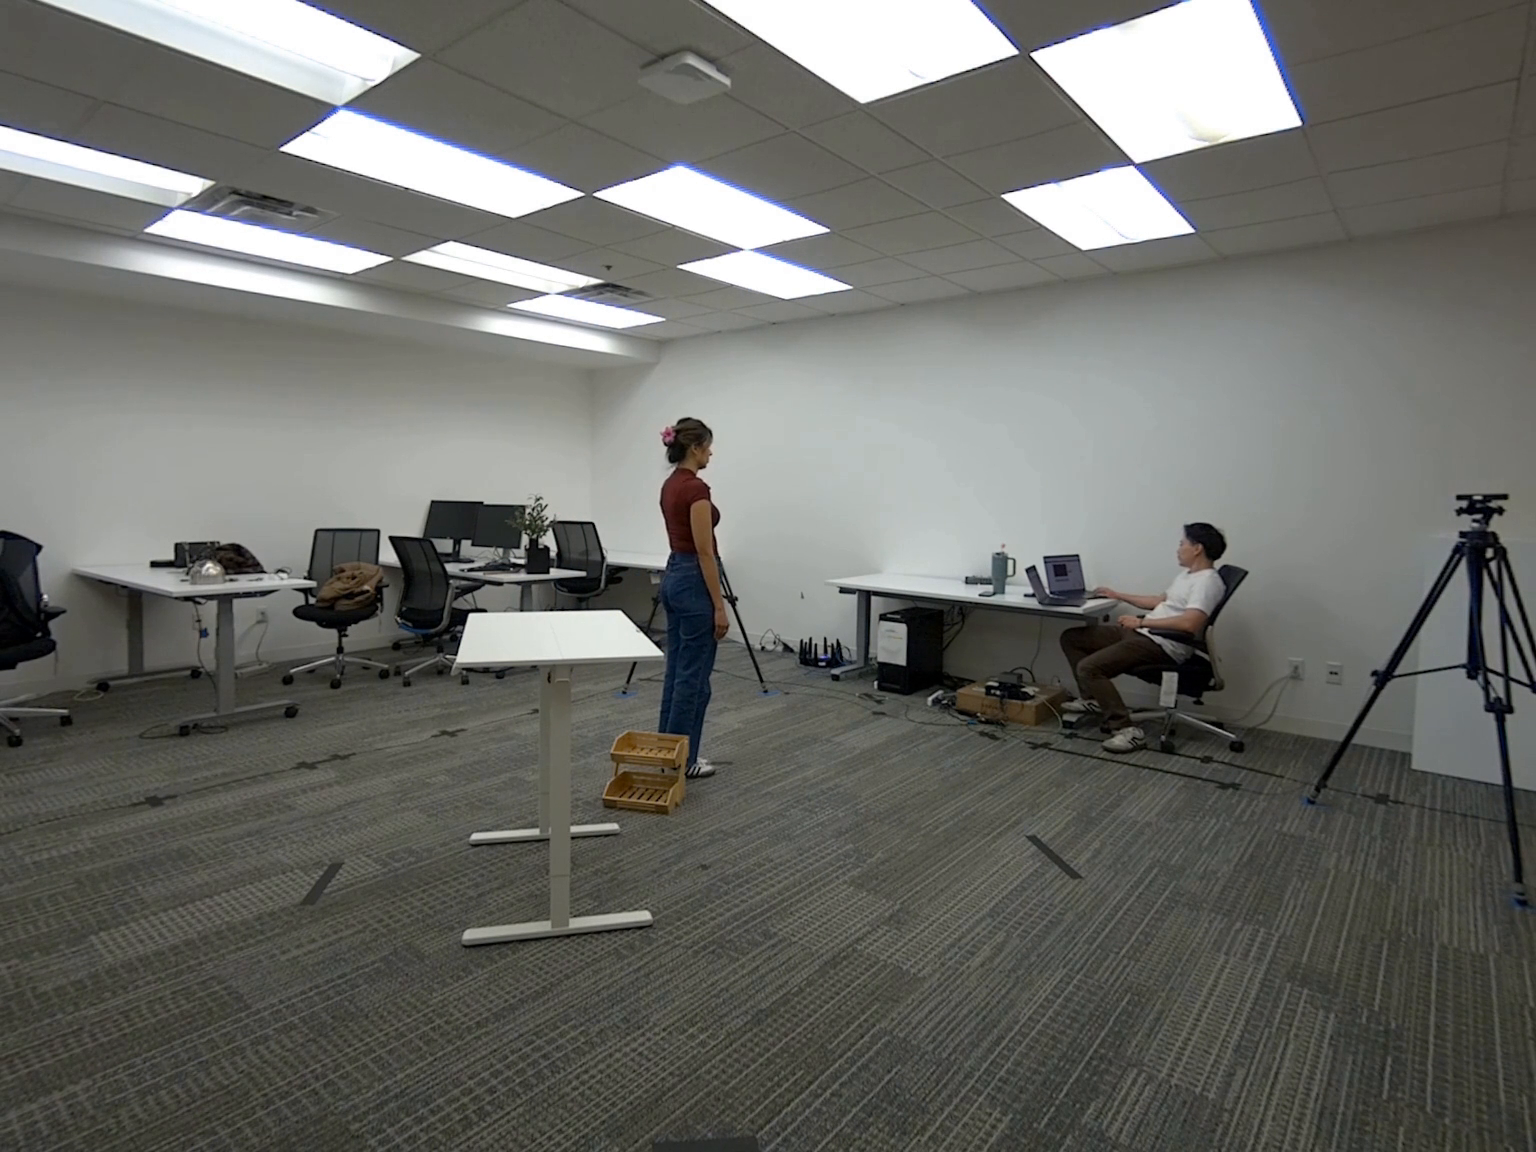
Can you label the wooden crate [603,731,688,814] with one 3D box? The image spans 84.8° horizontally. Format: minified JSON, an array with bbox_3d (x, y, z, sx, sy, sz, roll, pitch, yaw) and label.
[{"bbox_3d":[-0.551,0.862,3.782,0.329,0.272,0.298,2,4,13],"label":"wooden crate"}]
